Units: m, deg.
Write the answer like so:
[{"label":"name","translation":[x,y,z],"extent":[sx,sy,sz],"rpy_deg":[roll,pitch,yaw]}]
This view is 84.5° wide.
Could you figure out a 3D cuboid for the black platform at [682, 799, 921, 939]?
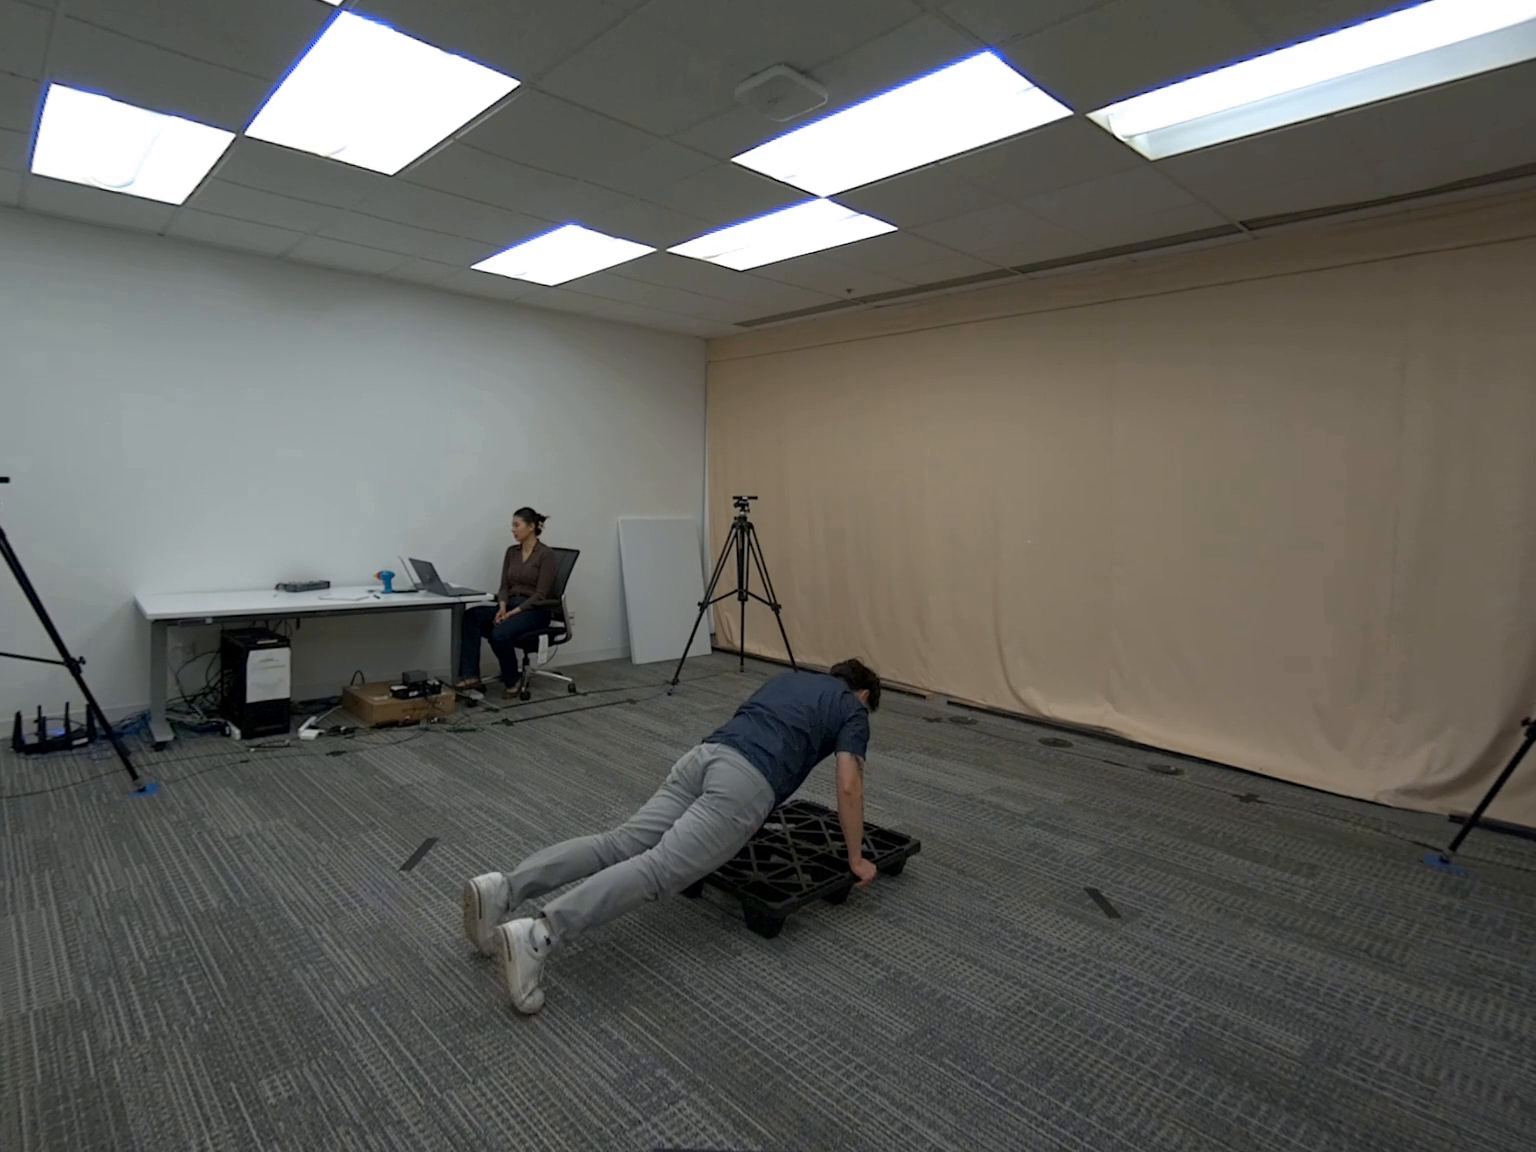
[{"label":"black platform","translation":[0.084,1.046,3.066],"extent":[0.621,0.143,0.787],"rpy_deg":[6,7,44]}]
